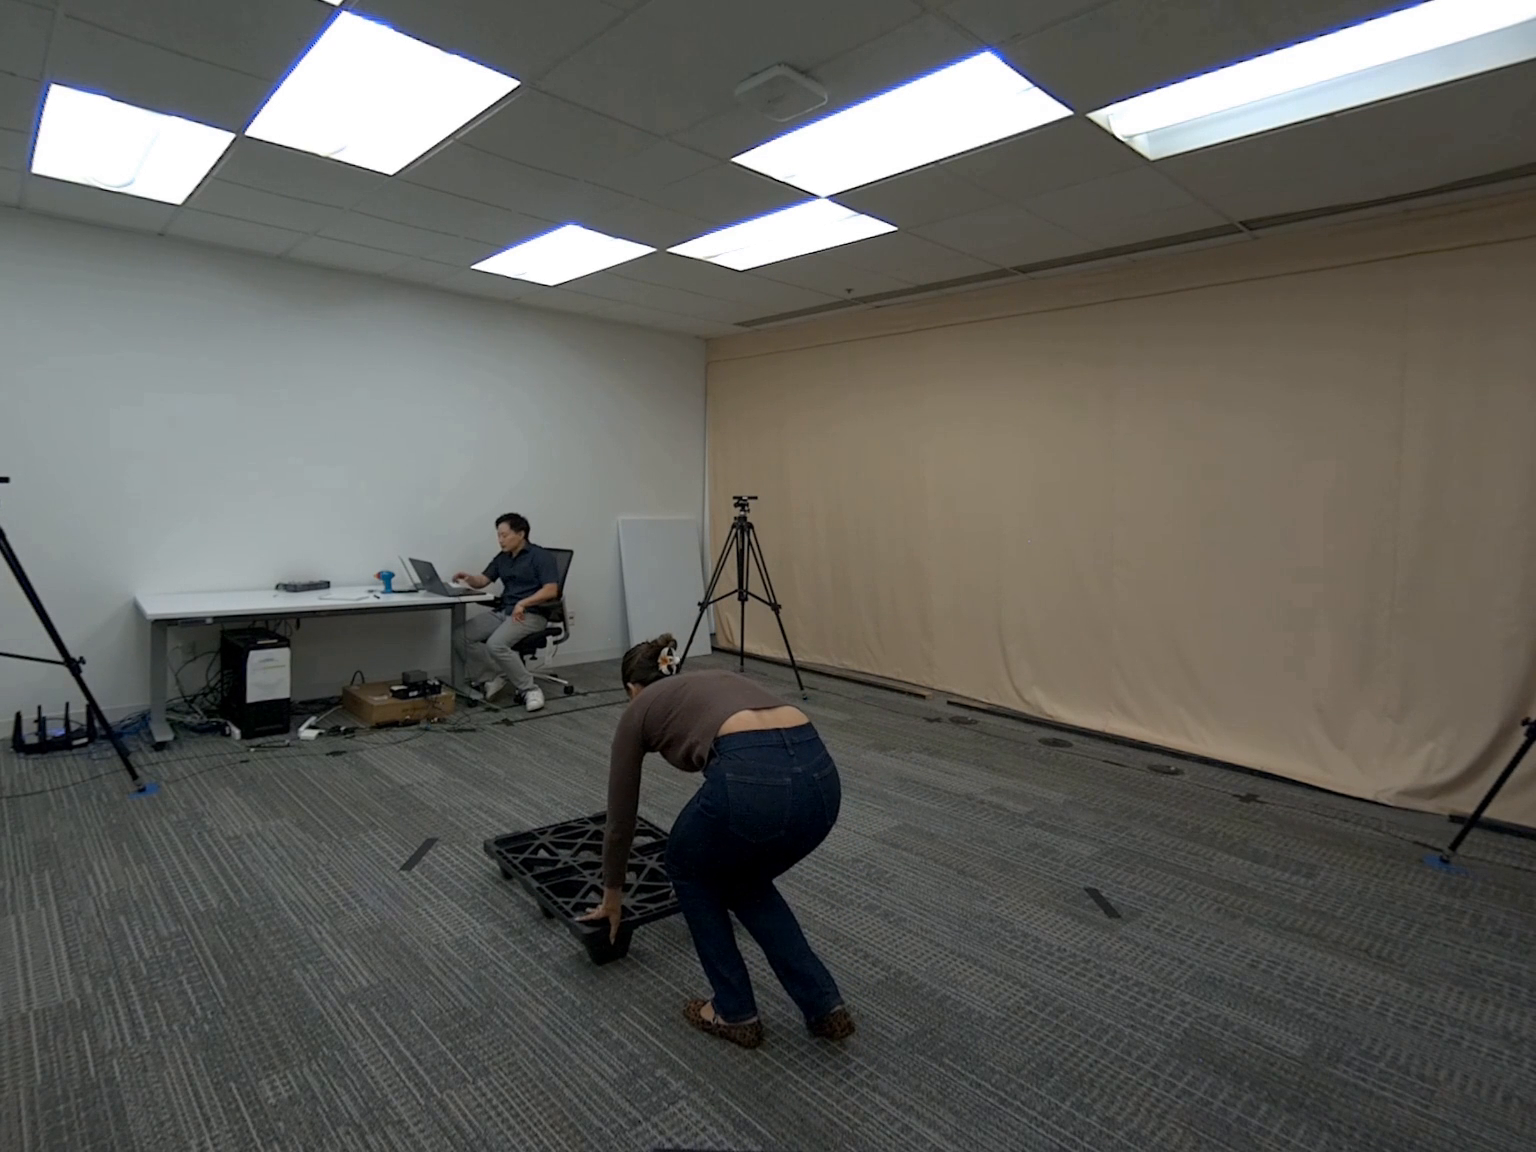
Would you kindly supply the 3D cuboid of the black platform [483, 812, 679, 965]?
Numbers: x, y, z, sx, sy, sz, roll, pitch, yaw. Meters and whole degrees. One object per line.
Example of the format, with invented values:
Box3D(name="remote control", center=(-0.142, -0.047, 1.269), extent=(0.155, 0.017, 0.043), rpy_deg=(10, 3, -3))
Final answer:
Box3D(name="black platform", center=(-0.556, 1.045, 2.901), extent=(0.592, 0.143, 0.826), rpy_deg=(-4, 7, -39))
